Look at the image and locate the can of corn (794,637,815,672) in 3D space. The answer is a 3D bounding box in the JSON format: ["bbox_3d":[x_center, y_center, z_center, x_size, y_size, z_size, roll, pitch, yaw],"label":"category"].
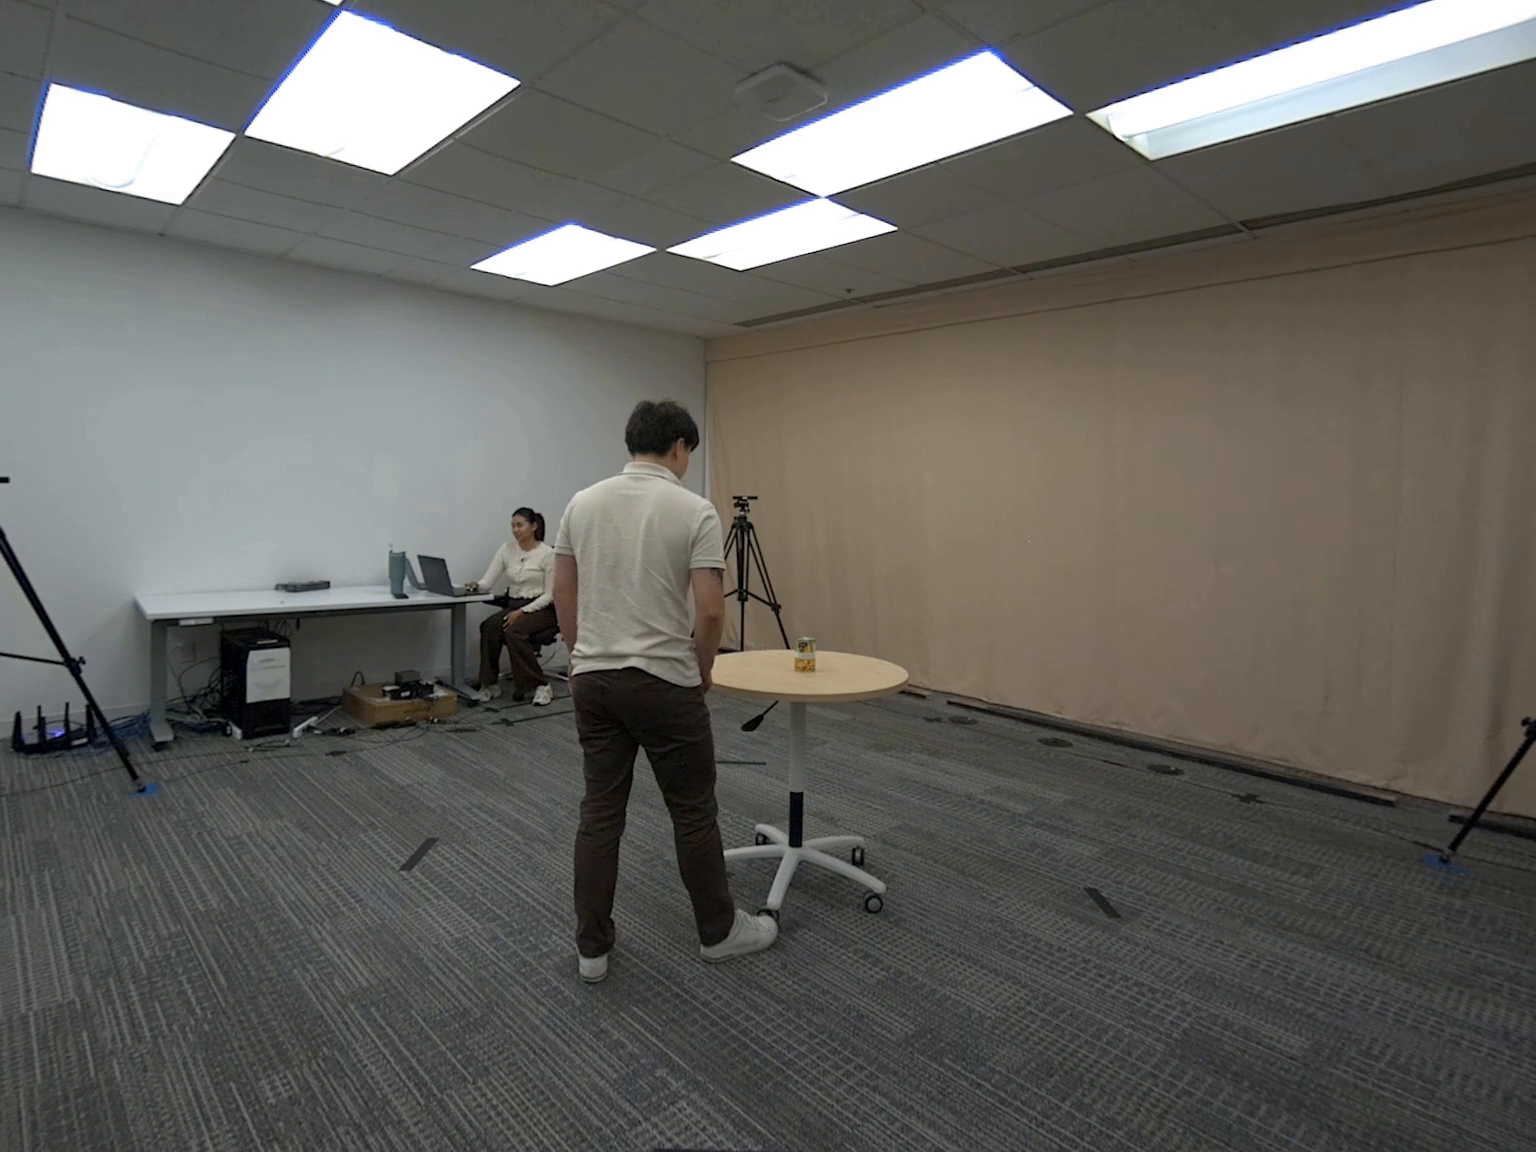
[{"bbox_3d":[0.123,0.278,2.991,0.074,0.111,0.074,0,3,-1],"label":"can of corn"}]
